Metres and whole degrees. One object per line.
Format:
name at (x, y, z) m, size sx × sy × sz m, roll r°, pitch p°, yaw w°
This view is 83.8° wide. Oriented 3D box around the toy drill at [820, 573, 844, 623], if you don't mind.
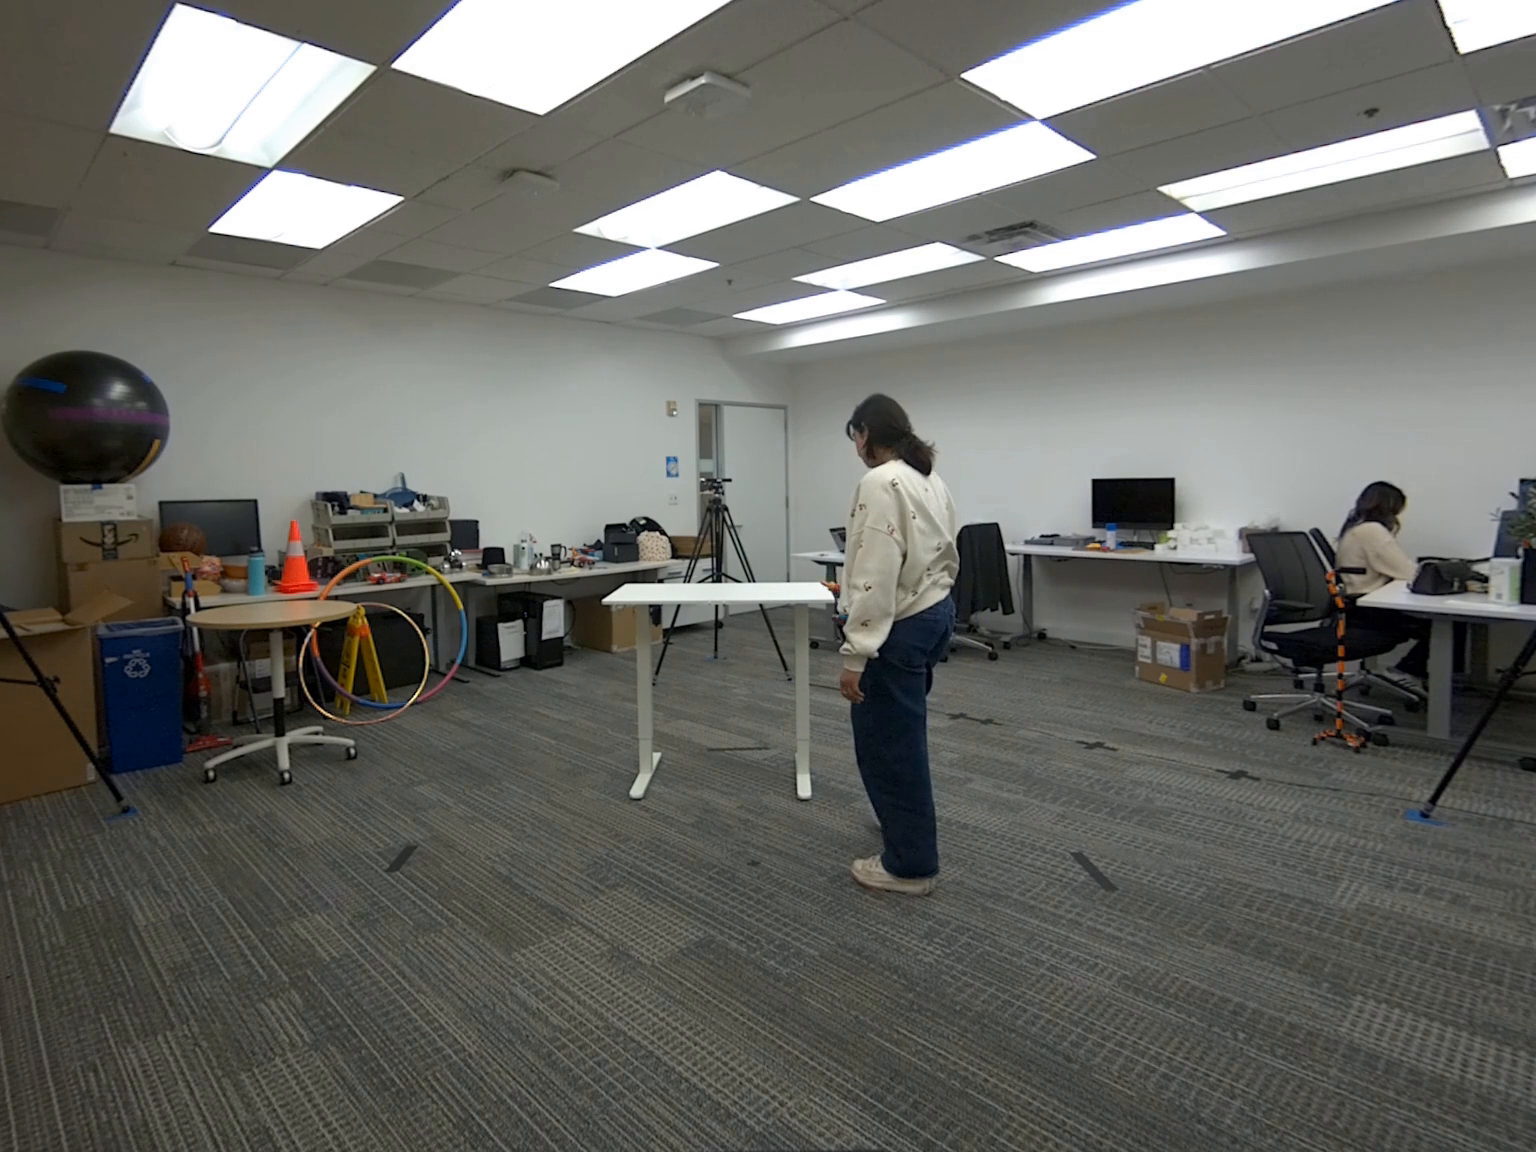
toy drill at (0.299, 0.093, 3.143) m, size 0.170 × 0.147 × 0.060 m, roll 22°, pitch -17°, yaw 0°
